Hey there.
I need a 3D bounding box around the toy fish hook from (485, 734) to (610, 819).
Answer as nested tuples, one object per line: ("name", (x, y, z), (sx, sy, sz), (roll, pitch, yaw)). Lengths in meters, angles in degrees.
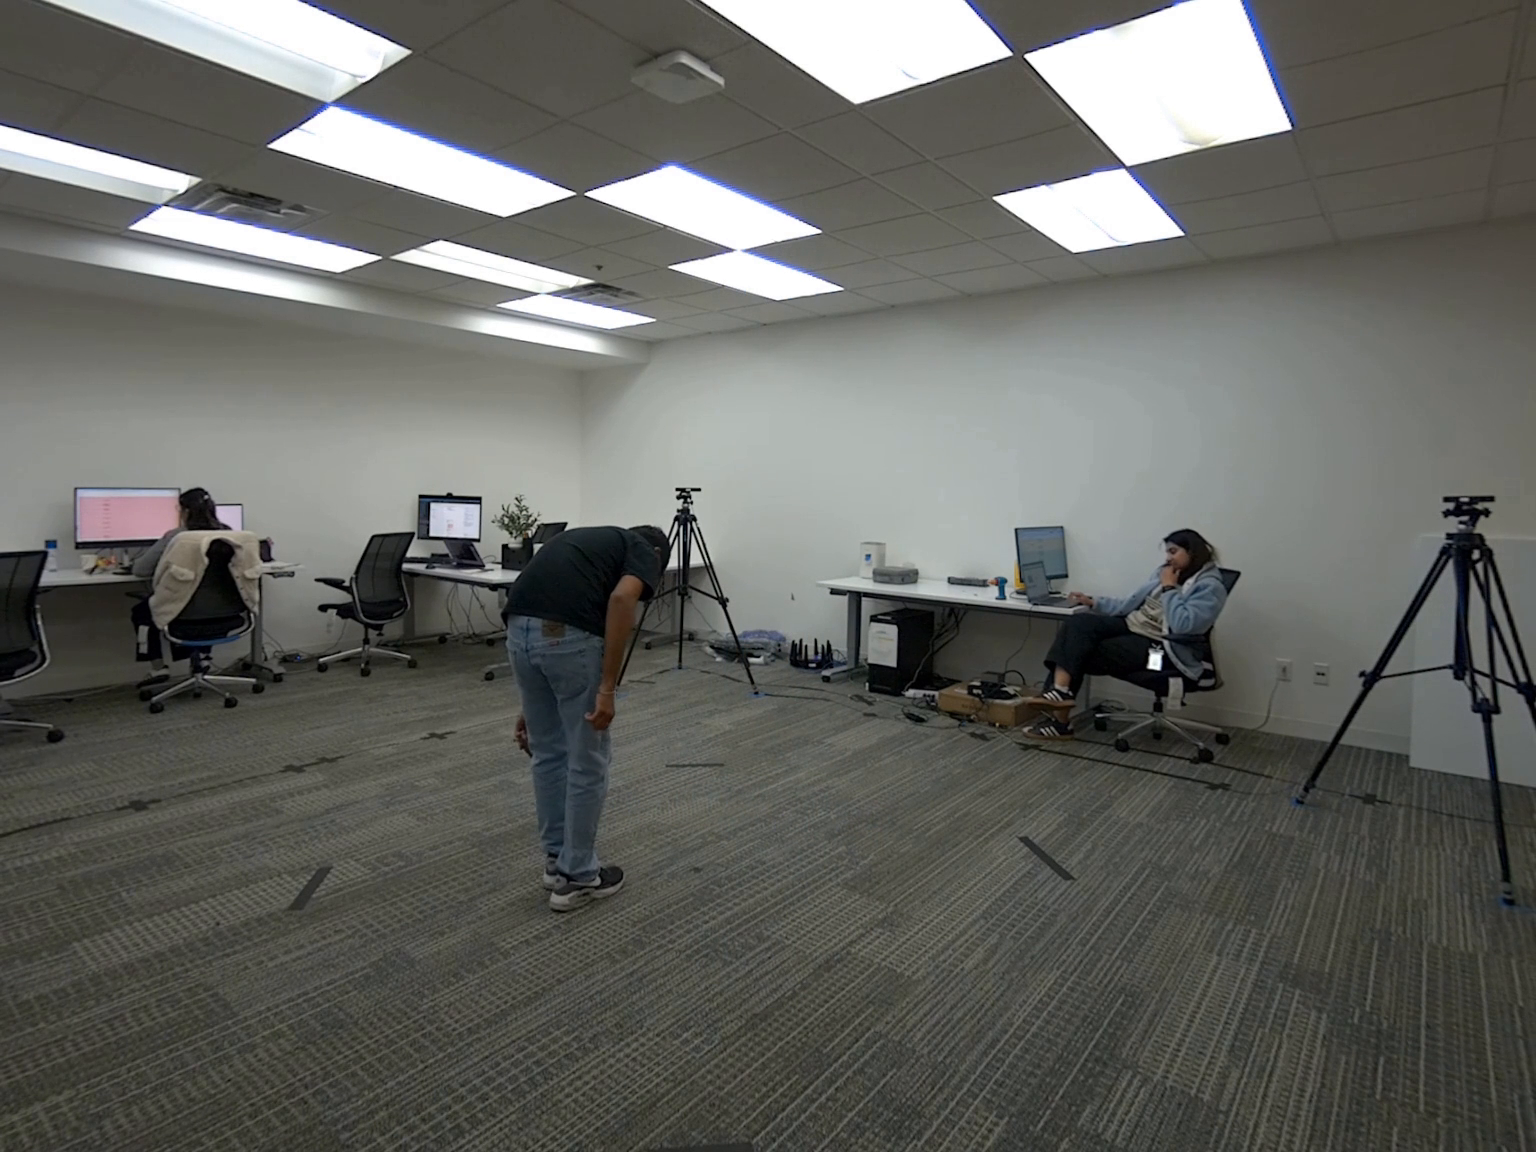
("toy fish hook", (-0.858, 0.816, 3.292), (0.224, 0.491, 0.050), (-40, 25, -15))
